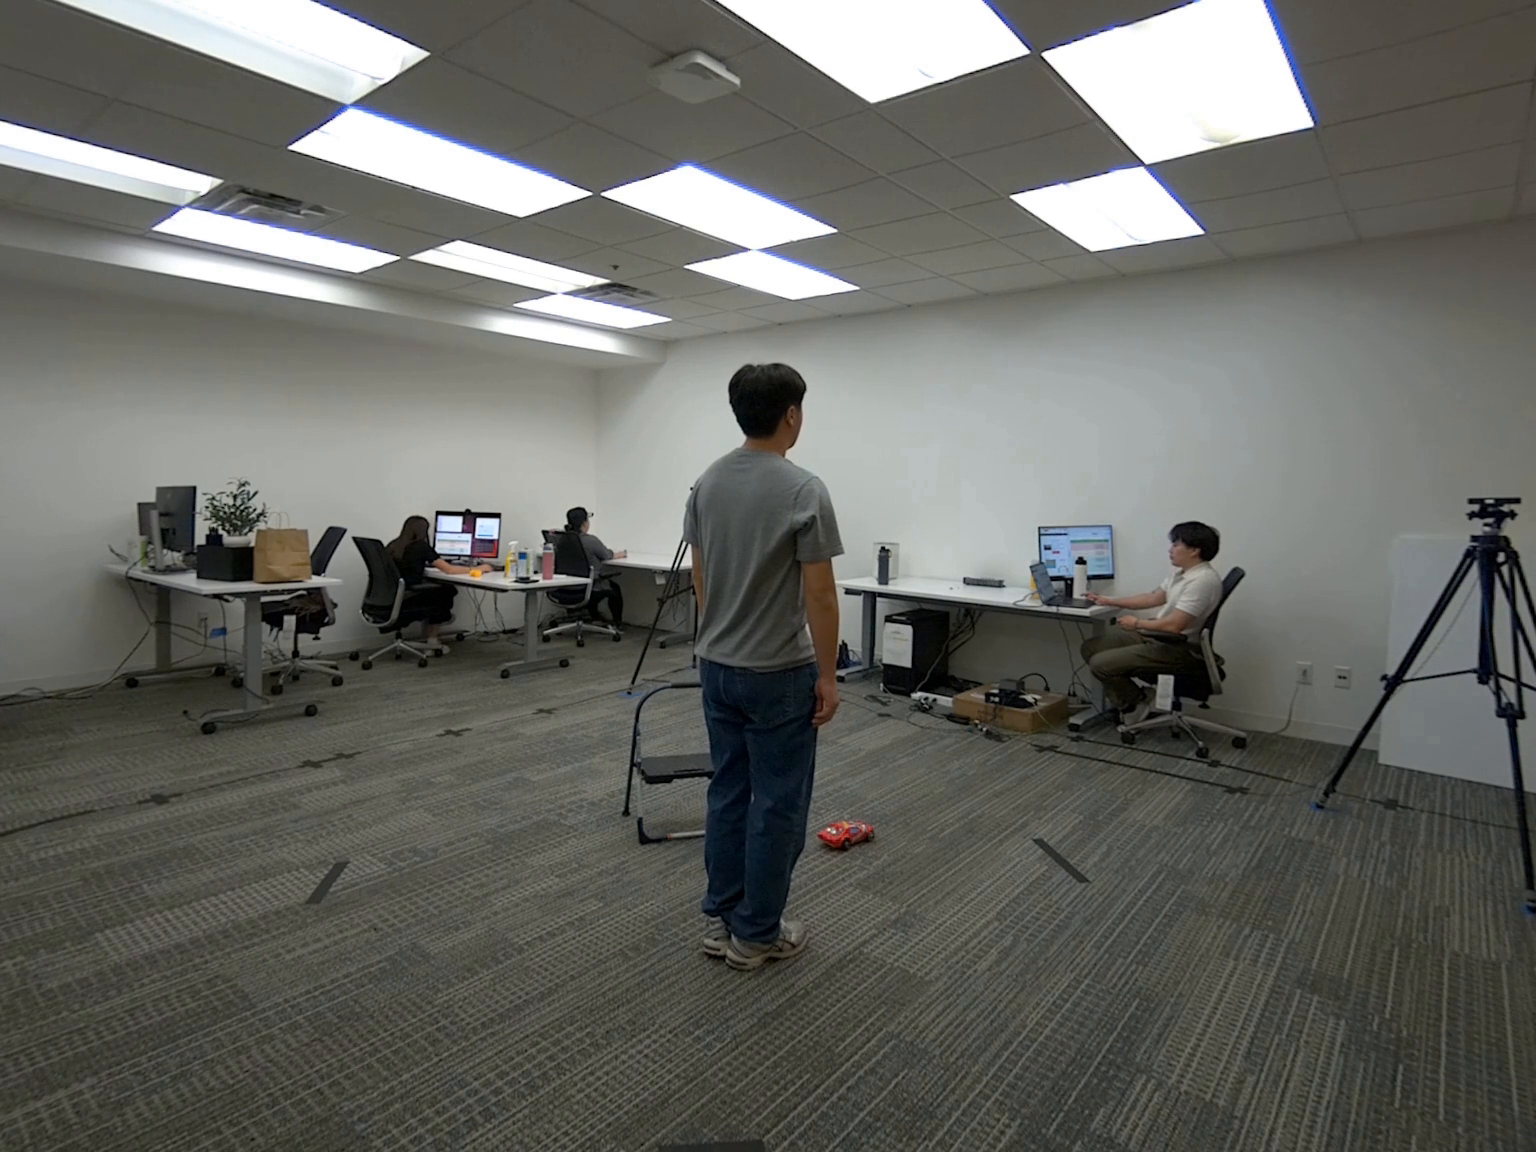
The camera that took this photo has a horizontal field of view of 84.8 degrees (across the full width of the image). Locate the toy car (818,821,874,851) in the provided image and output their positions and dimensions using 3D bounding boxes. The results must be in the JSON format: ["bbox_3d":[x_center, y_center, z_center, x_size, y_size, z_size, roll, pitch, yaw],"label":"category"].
[{"bbox_3d":[0.299,1.019,3.366,0.245,0.083,0.135,11,-2,-40],"label":"toy car"}]
